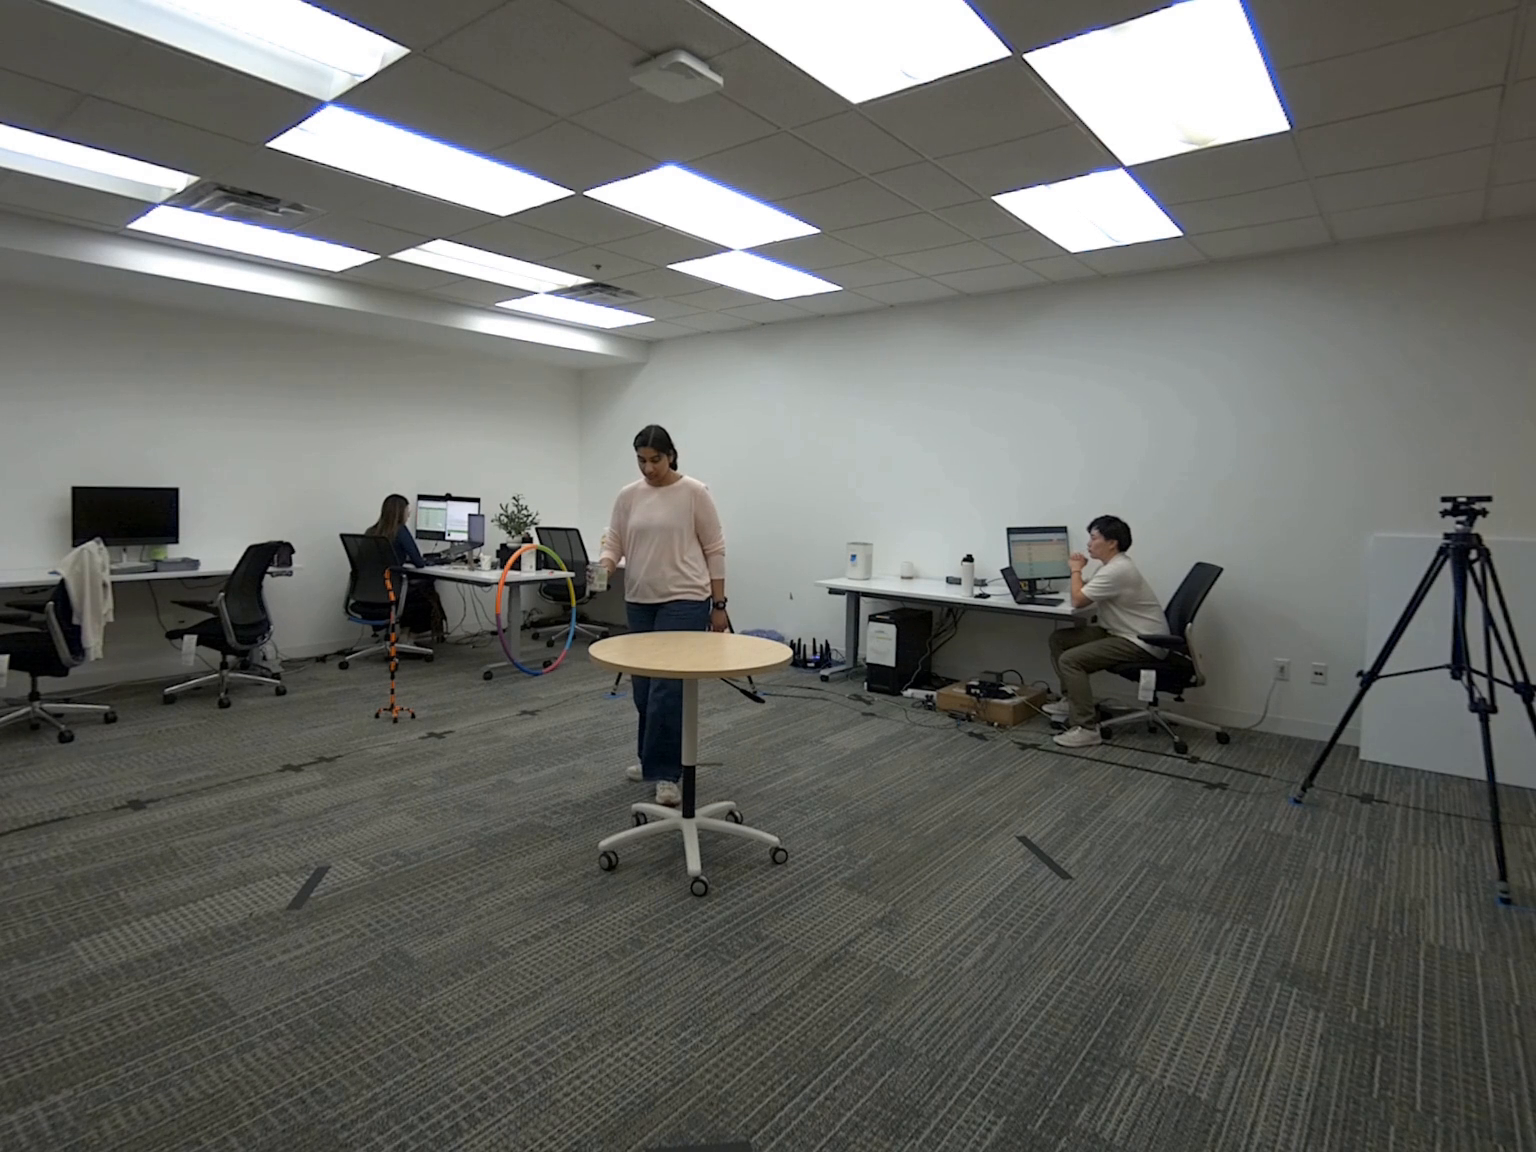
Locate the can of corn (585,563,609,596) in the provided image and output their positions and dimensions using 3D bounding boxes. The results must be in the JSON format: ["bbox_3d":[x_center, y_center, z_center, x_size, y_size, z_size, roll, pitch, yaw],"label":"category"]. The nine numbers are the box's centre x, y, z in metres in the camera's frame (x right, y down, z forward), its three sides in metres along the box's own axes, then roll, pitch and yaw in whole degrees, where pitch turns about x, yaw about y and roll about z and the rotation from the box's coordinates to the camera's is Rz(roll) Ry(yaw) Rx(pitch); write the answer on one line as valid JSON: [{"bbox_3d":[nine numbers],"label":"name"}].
[{"bbox_3d":[-0.789,0.012,3.741,0.074,0.111,0.074,-1,-2,-2],"label":"can of corn"}]
